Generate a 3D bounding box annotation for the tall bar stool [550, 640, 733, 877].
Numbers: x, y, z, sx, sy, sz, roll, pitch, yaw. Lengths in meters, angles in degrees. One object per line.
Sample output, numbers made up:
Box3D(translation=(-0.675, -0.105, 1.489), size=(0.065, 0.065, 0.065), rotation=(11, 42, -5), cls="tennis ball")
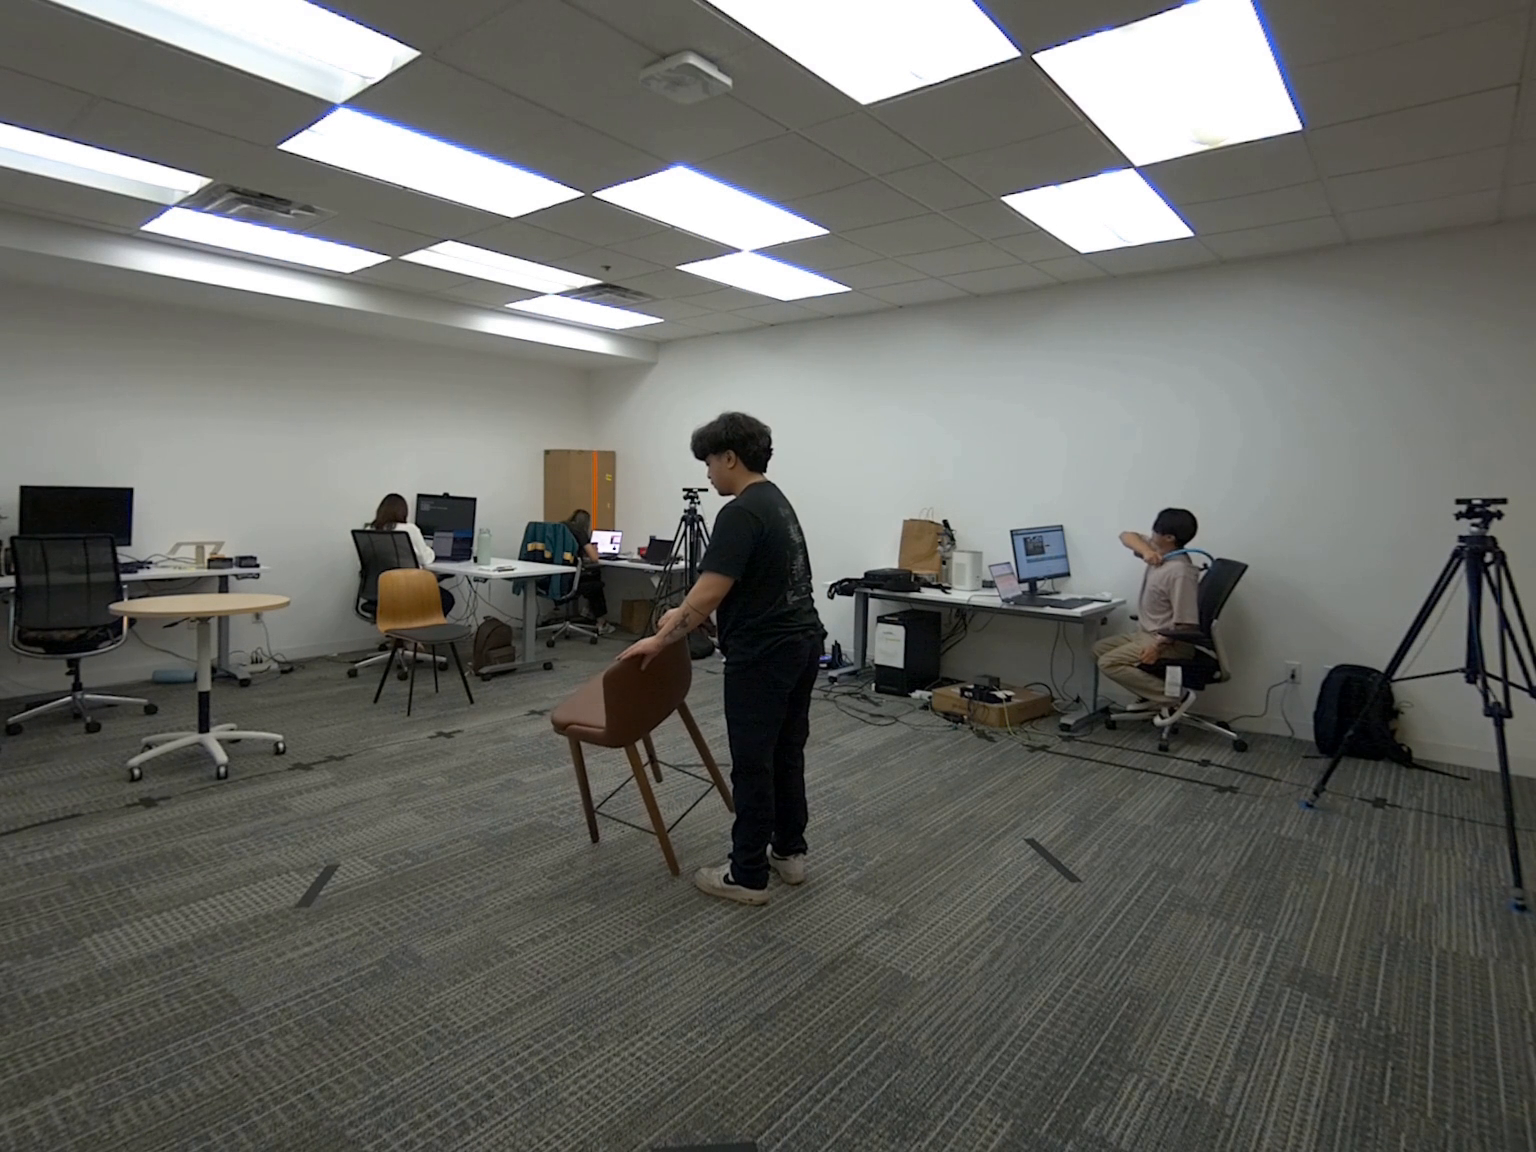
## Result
Box3D(translation=(-0.503, 0.587, 3.168), size=(0.484, 0.868, 0.452), rotation=(8, 30, 39), cls="tall bar stool")
